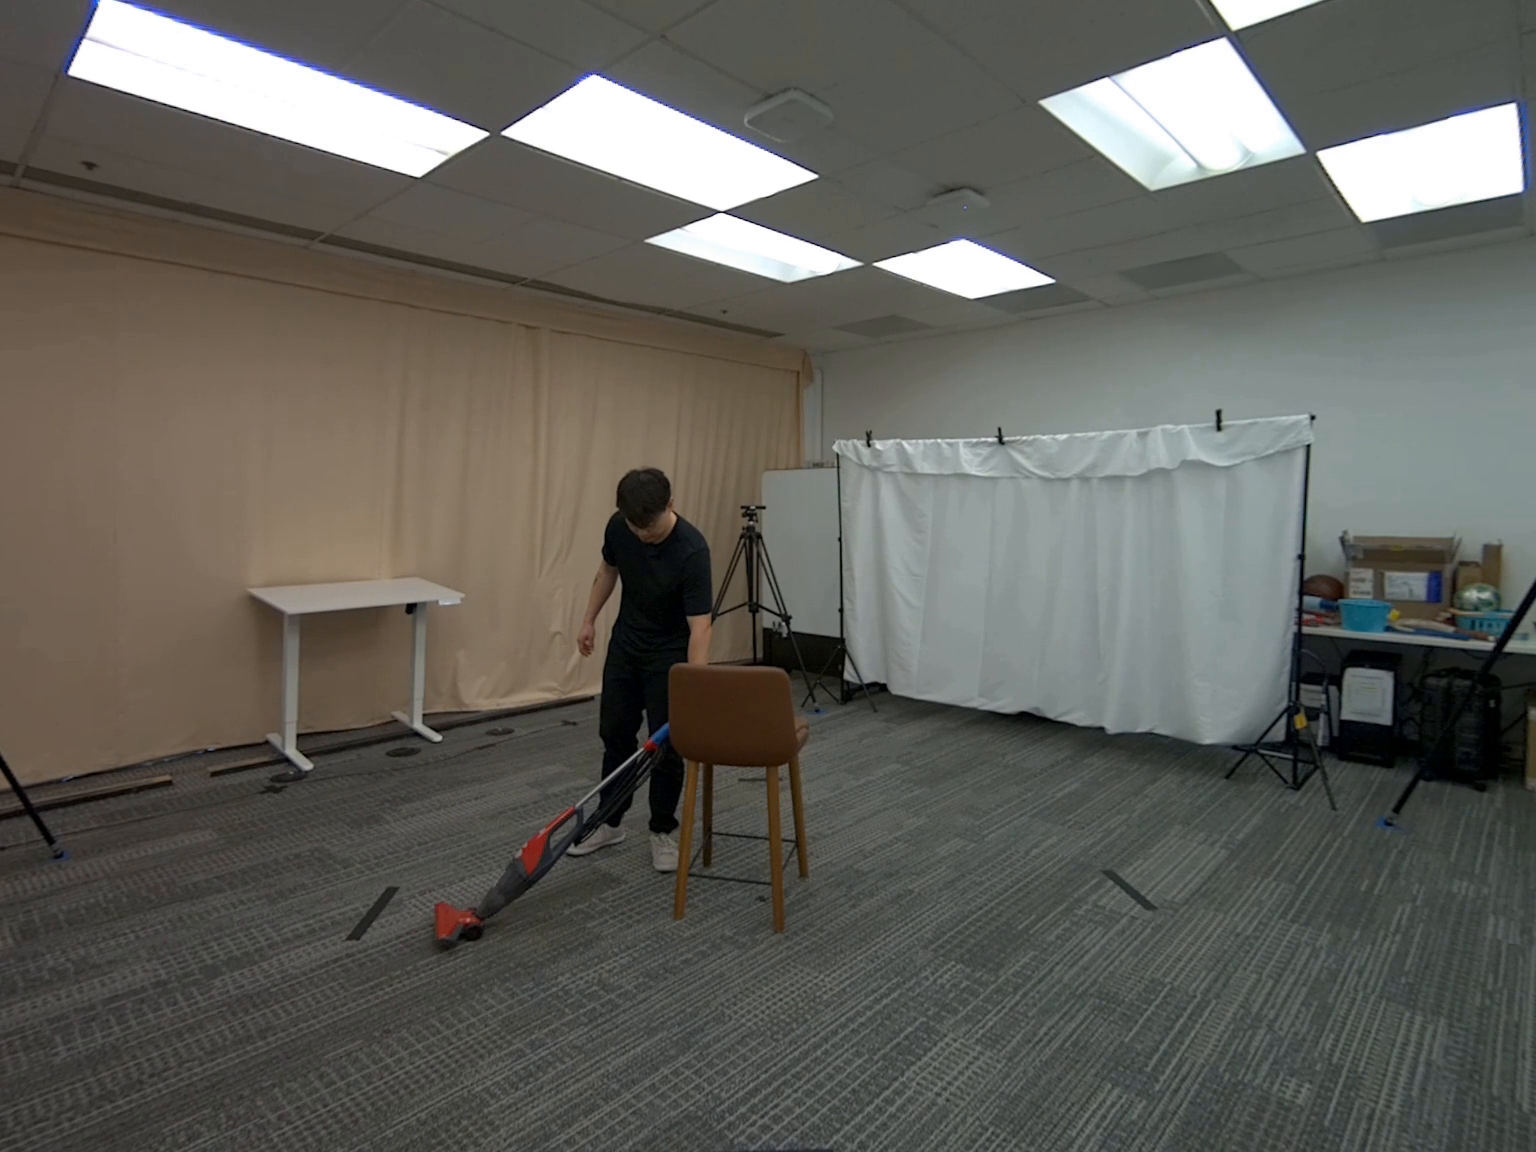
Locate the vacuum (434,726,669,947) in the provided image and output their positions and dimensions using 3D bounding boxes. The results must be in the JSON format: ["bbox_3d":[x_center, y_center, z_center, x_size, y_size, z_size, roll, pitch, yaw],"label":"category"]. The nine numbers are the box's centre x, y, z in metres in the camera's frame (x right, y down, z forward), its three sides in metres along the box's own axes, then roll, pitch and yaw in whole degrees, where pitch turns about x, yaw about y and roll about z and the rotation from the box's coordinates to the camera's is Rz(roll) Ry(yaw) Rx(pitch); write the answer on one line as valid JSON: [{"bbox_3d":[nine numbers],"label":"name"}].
[{"bbox_3d":[-0.638,0.822,2.872,1.043,0.141,0.258,-40,17,-15],"label":"vacuum"}]
